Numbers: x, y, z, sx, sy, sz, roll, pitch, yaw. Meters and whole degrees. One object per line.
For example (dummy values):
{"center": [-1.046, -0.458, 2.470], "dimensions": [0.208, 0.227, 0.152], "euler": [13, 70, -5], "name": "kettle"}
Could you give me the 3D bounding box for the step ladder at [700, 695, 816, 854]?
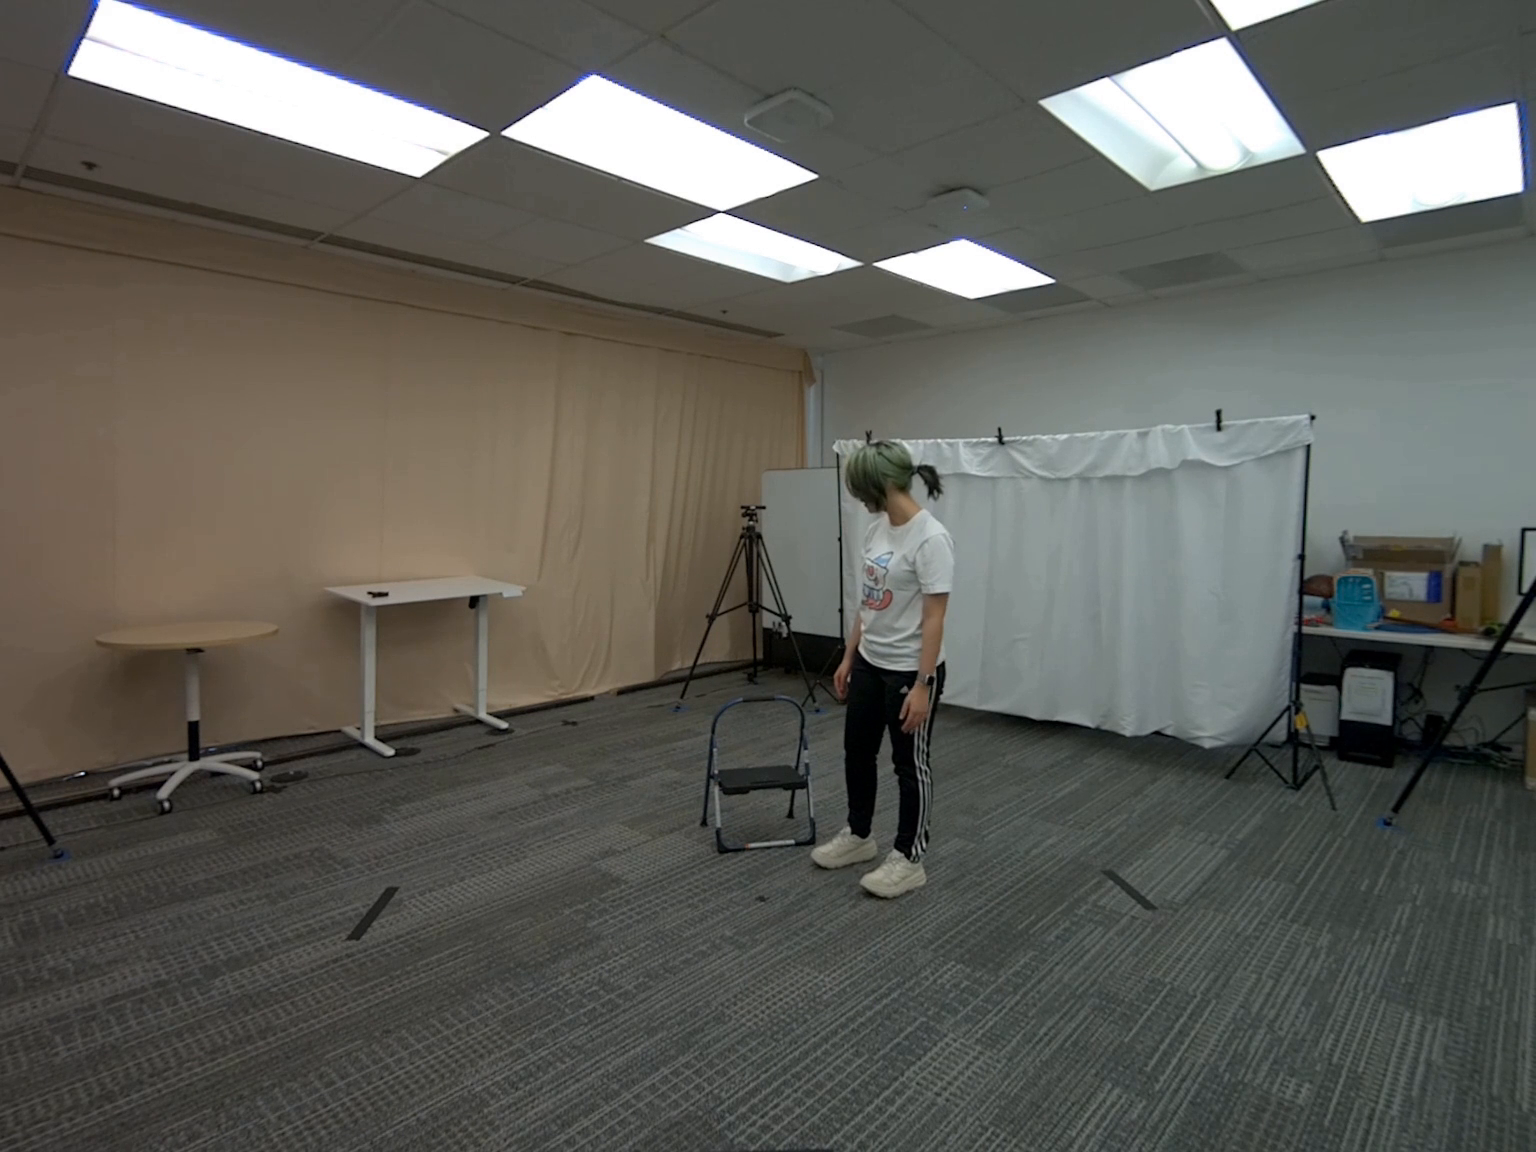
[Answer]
{"center": [-0.047, 0.796, 3.563], "dimensions": [0.424, 0.605, 0.355], "euler": [-1, 3, -15], "name": "step ladder"}
